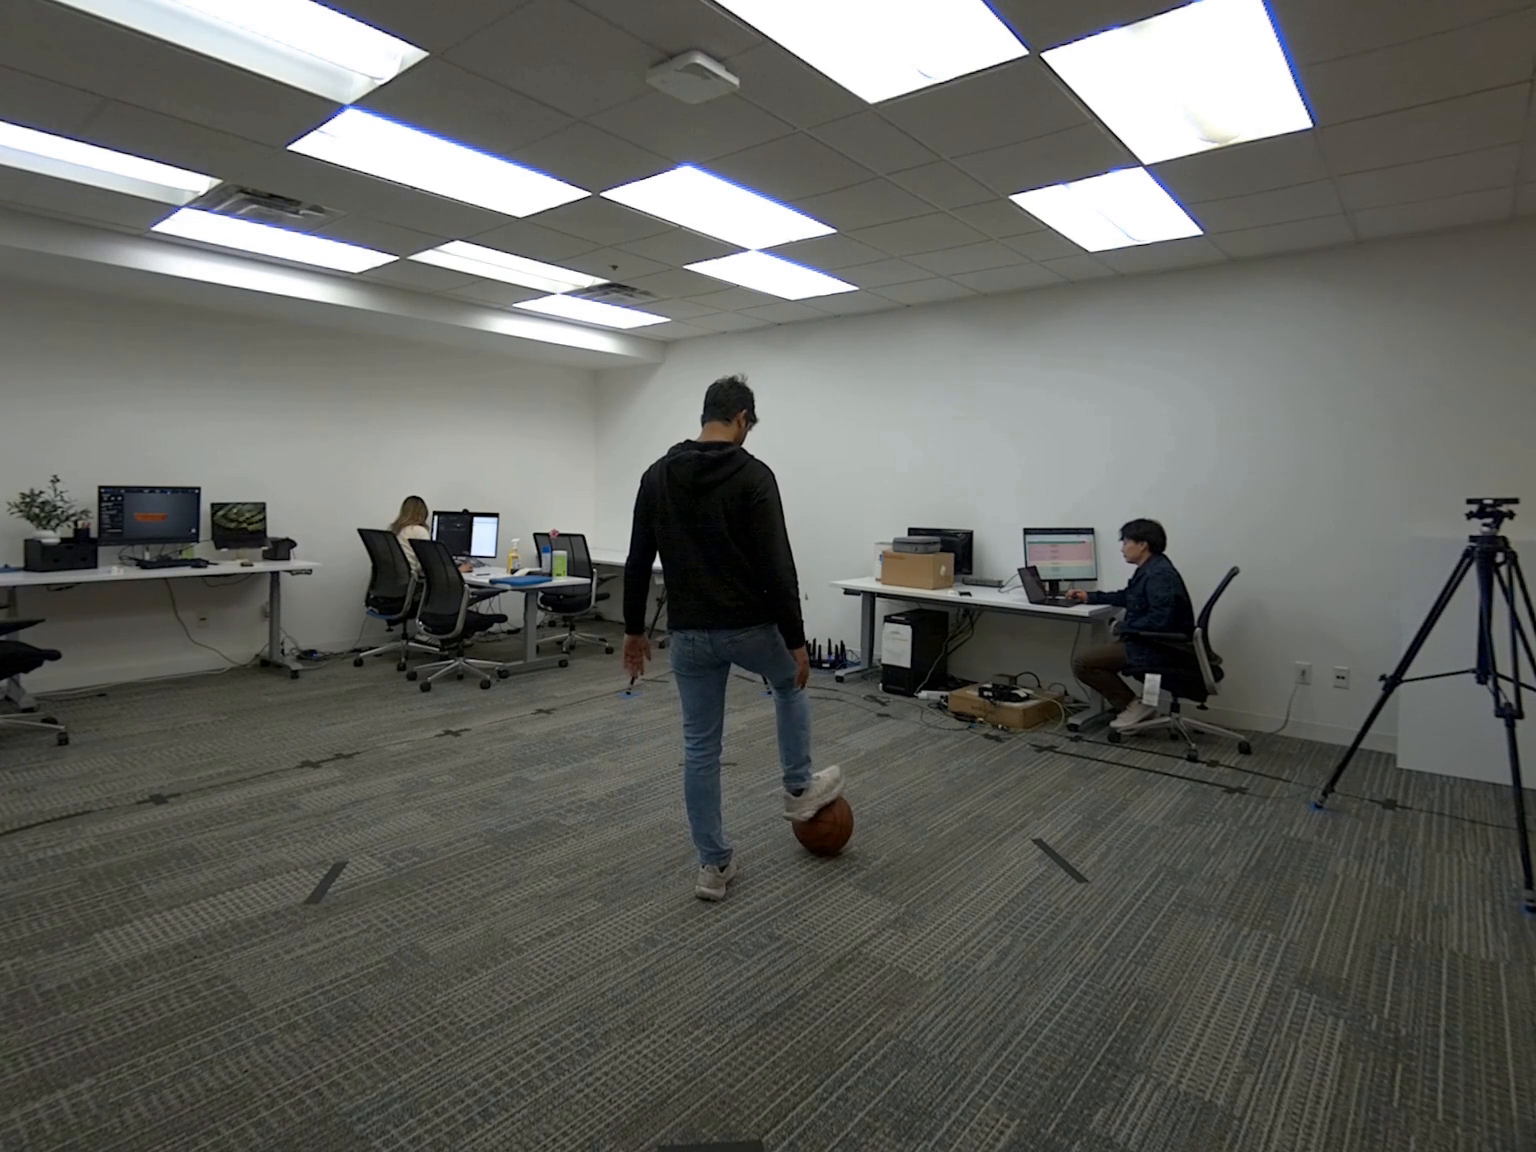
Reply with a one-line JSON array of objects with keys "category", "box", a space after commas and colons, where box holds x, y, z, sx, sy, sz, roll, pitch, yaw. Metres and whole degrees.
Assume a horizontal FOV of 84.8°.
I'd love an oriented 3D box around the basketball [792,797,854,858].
[{"category": "basketball", "box": [0.197, 0.938, 3.271, 0.235, 0.235, 0.237, 1, 4, -2]}]
